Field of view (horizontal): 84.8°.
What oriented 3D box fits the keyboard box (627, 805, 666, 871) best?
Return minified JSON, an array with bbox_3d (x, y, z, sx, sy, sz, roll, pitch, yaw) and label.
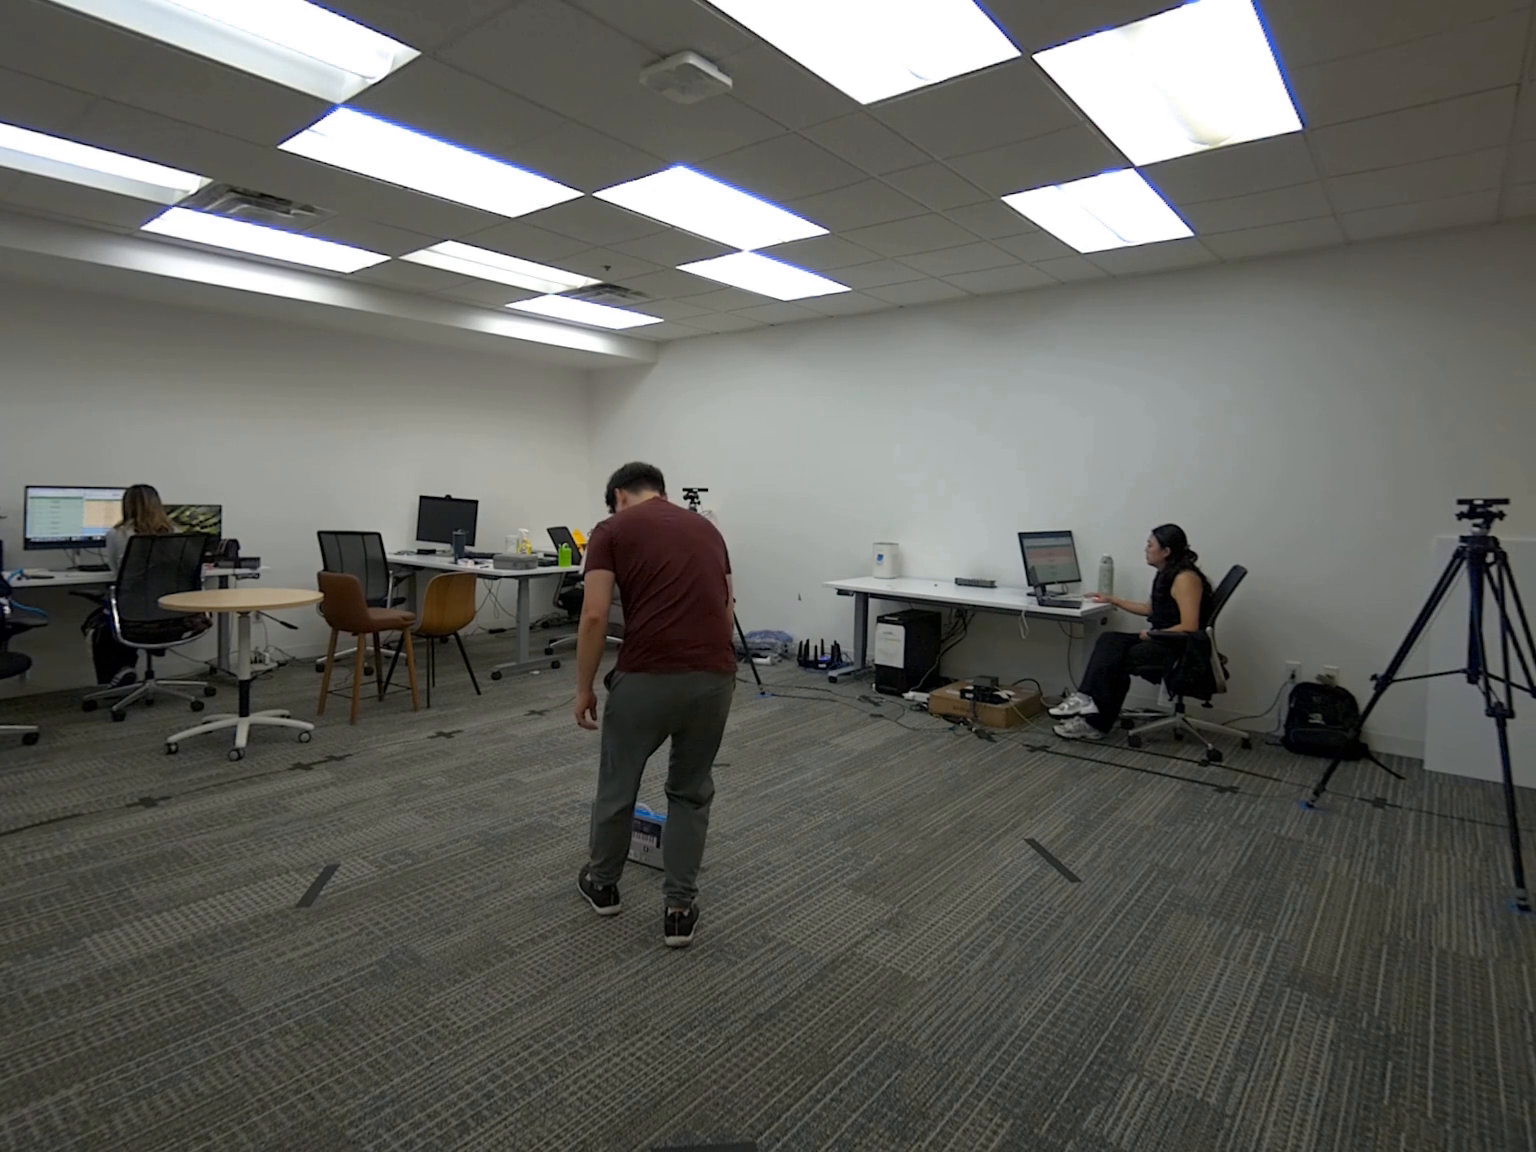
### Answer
[{"bbox_3d":[-0.485,0.969,3.181,0.450,0.176,0.057,4,-3,31],"label":"keyboard box"}]
